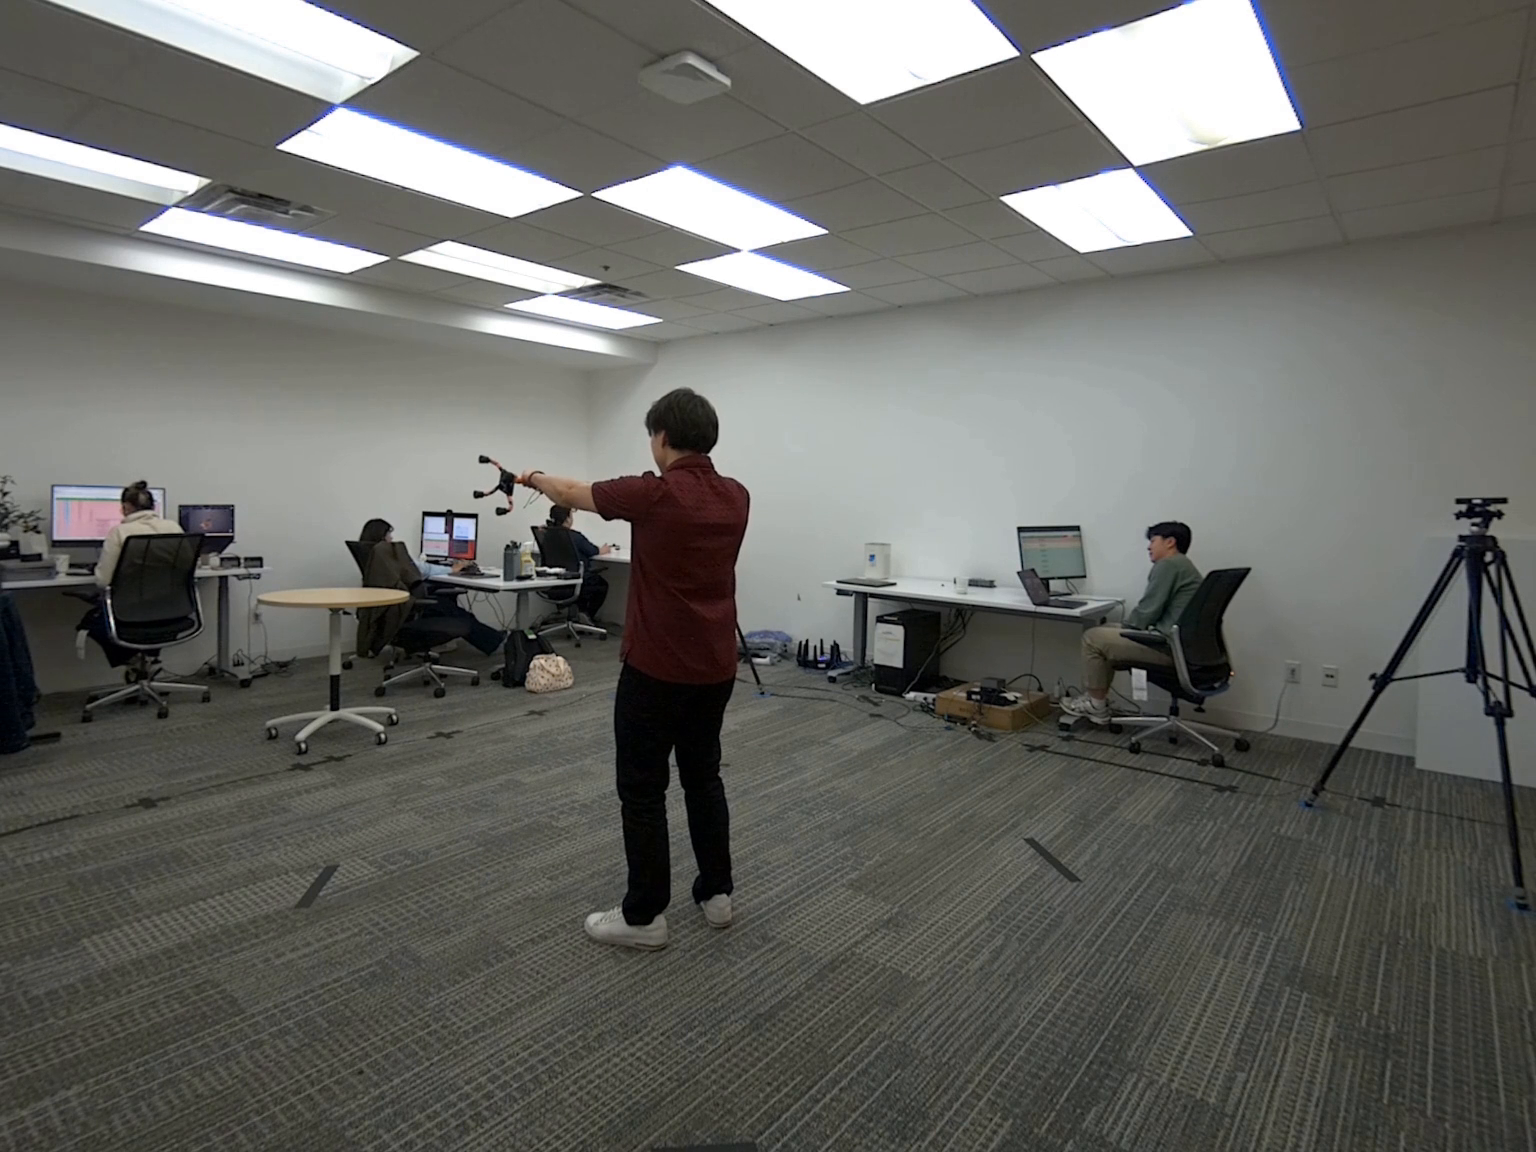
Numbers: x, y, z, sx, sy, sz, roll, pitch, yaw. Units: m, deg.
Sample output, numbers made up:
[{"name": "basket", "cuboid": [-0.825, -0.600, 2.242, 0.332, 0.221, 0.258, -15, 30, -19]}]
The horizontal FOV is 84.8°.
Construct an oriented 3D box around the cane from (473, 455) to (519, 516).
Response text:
[{"name": "cane", "cuboid": [-0.607, -0.307, 3.104, 0.880, 0.150, 0.215, -2, 24, -43]}]
